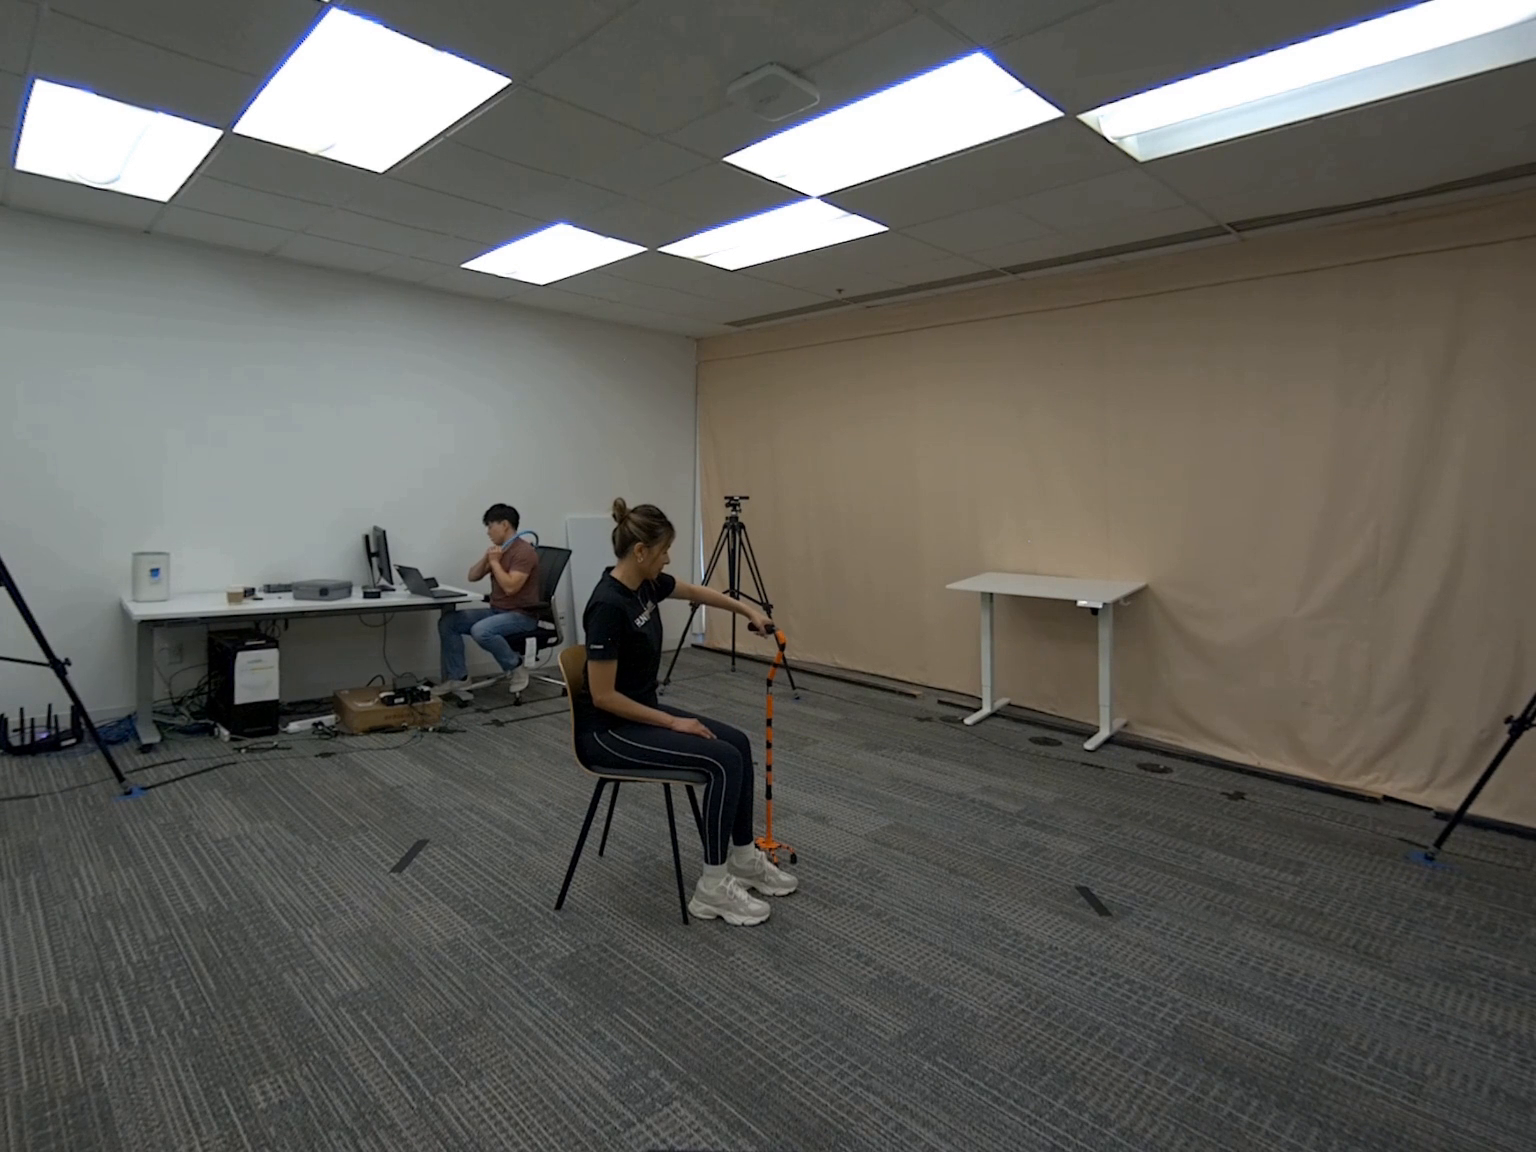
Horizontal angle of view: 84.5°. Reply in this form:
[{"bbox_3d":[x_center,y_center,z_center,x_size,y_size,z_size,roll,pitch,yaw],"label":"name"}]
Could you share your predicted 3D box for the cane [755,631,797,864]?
[{"bbox_3d":[-0.011,0.648,3.209,0.211,0.905,0.148,2,4,38],"label":"cane"}]
